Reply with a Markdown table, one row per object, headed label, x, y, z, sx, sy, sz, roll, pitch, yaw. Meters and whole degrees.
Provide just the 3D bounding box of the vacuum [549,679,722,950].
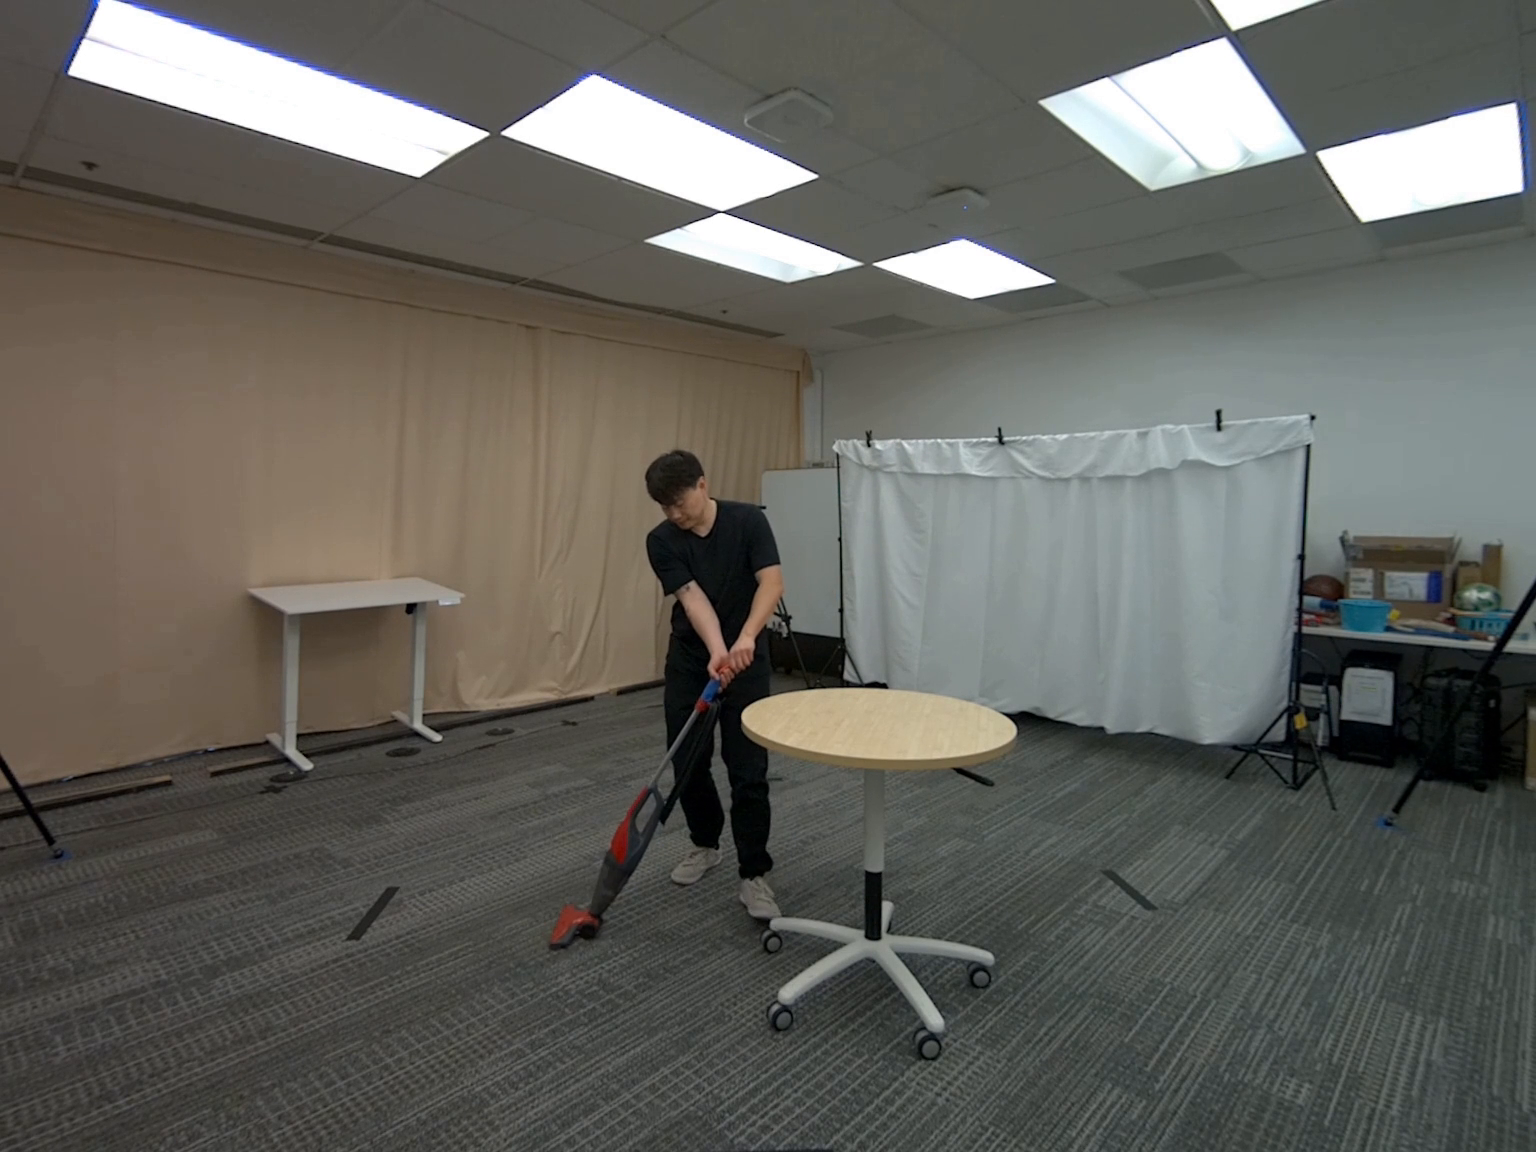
| label | x | y | z | sx | sy | sz | roll | pitch | yaw |
| --- | --- | --- | --- | --- | --- | --- | --- | --- | --- |
| vacuum | -0.358 | 0.721 | 2.755 | 0.144 | 1.049 | 0.252 | 32 | 2 | 0 |
